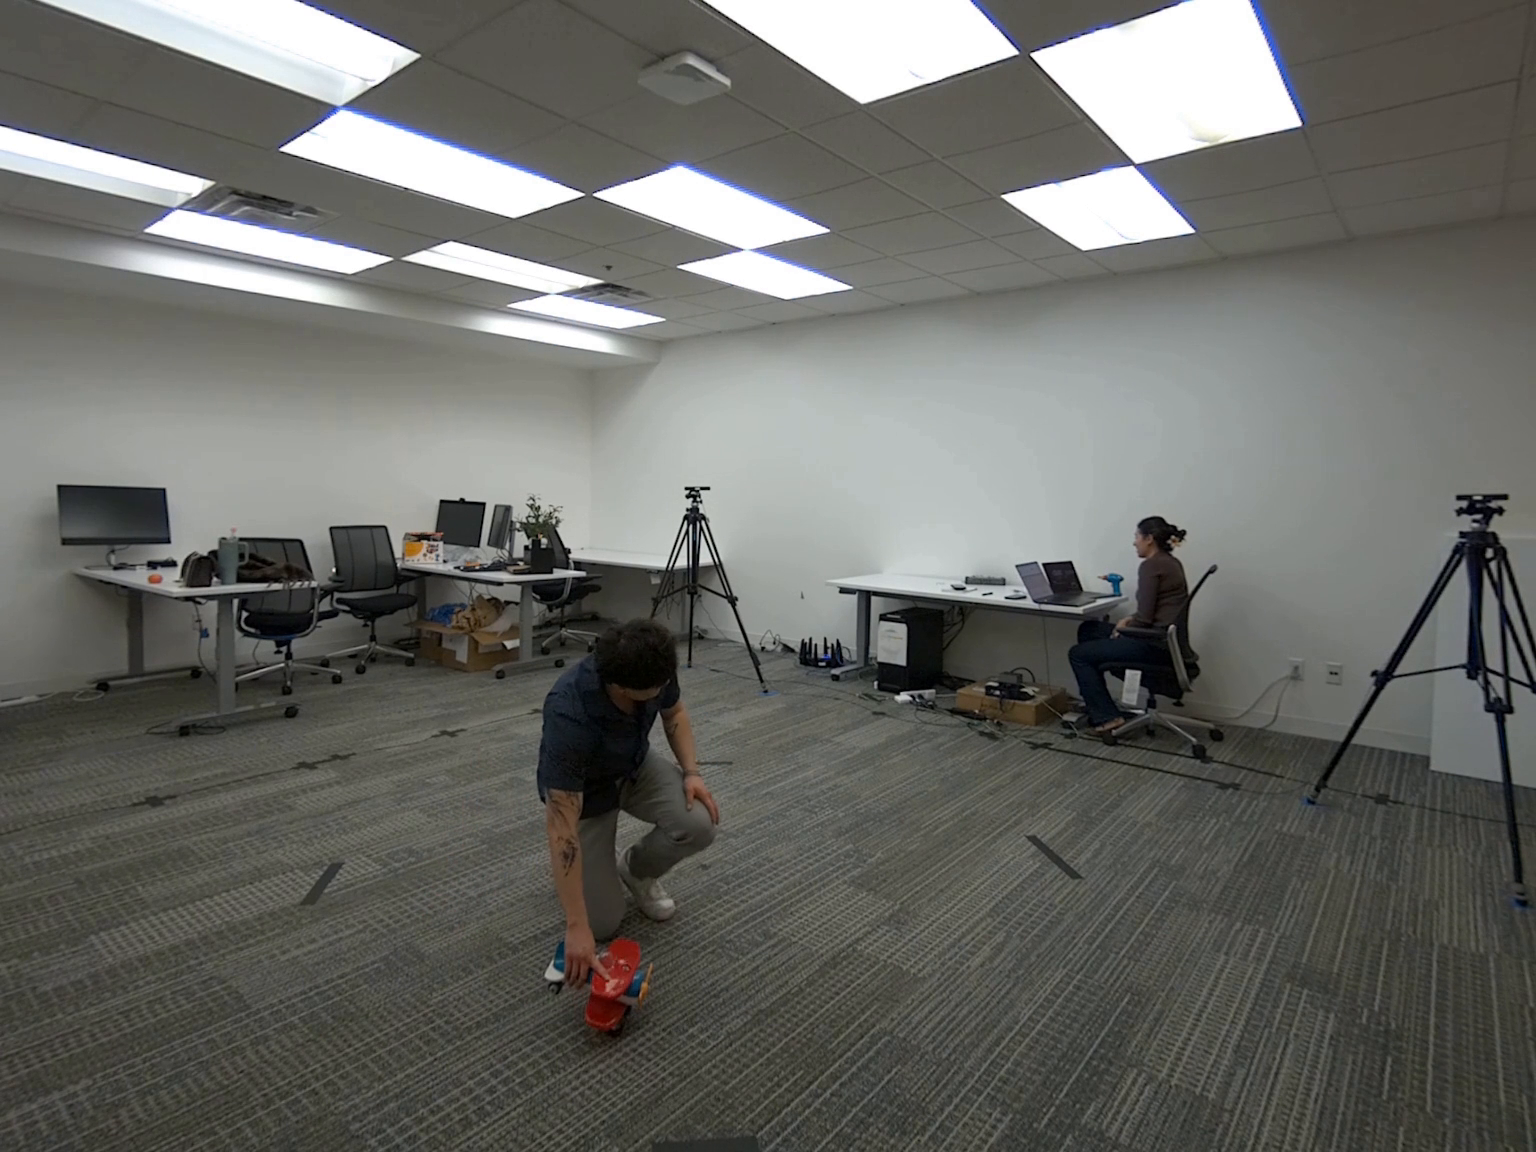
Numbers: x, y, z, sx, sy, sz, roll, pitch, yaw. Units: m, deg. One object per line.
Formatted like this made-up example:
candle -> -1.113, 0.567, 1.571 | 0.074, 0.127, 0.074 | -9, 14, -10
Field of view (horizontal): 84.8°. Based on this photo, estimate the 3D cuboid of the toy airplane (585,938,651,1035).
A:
toy airplane -> -0.456, 1.054, 2.185 | 0.252, 0.156, 0.259 | 22, 9, -24
